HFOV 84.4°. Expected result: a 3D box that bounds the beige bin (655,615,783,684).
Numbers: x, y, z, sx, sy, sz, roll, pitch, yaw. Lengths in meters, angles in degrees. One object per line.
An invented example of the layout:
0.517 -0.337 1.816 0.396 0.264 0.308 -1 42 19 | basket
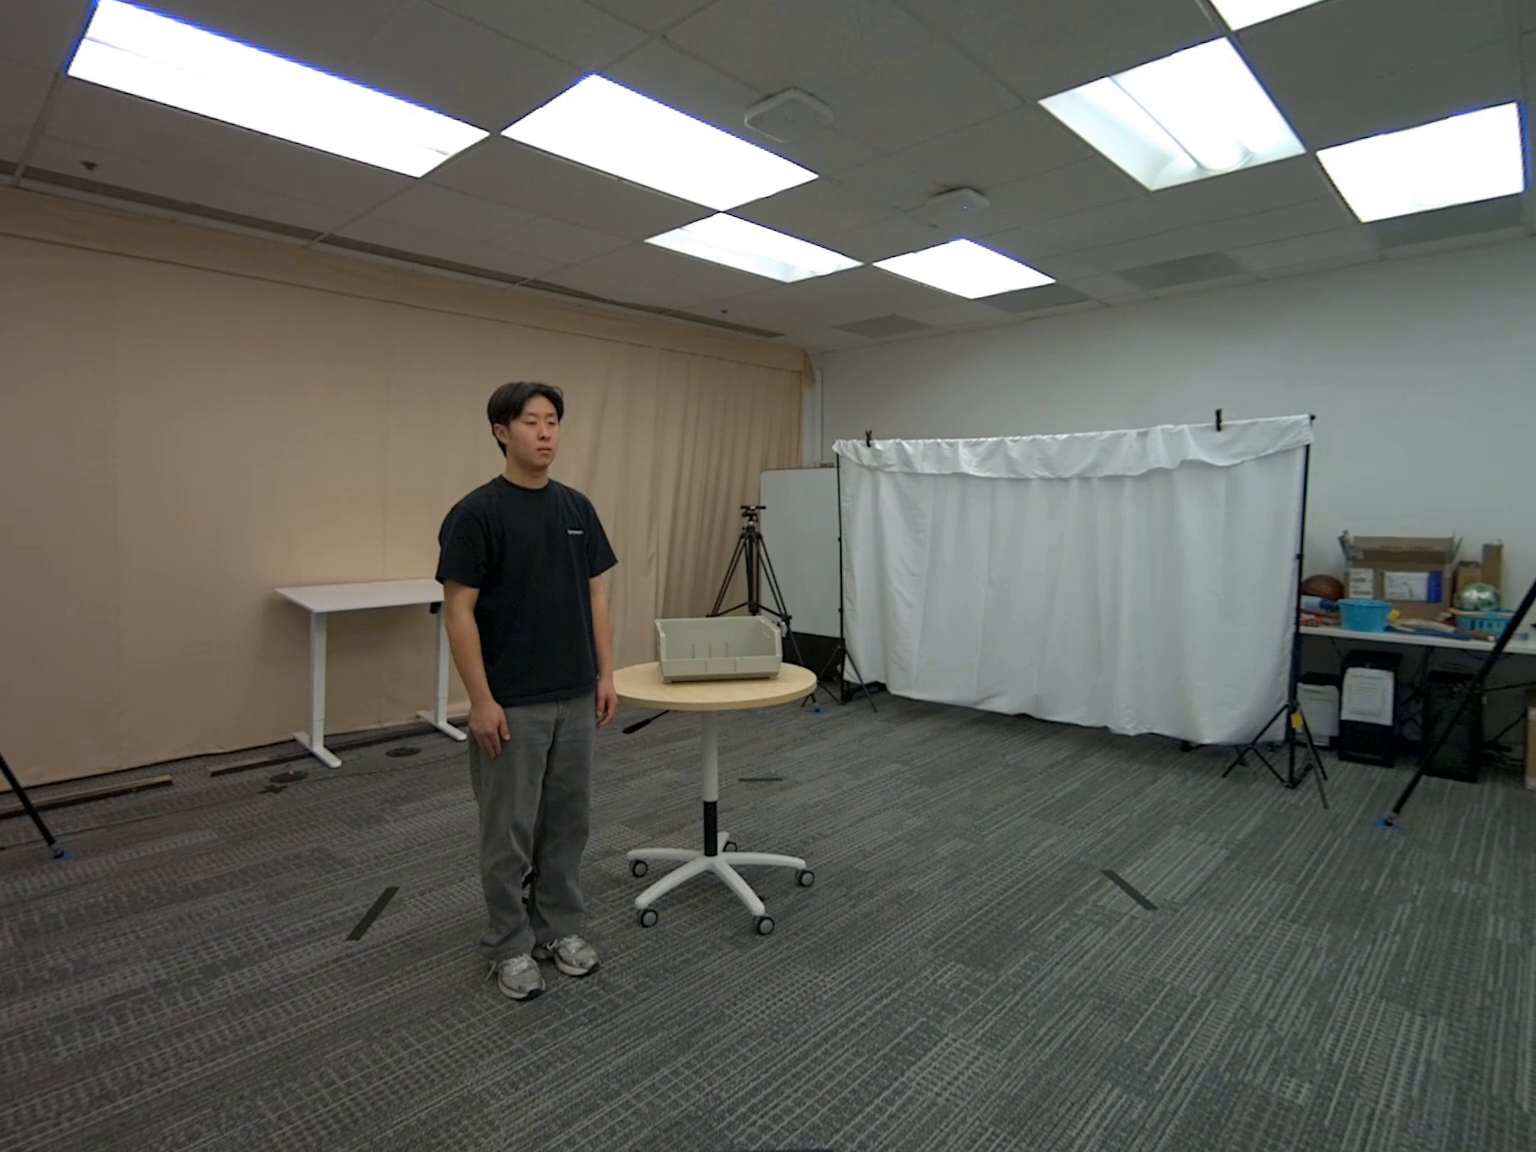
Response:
-0.185 0.266 3.054 0.419 0.188 0.381 -2 4 -8 | beige bin
